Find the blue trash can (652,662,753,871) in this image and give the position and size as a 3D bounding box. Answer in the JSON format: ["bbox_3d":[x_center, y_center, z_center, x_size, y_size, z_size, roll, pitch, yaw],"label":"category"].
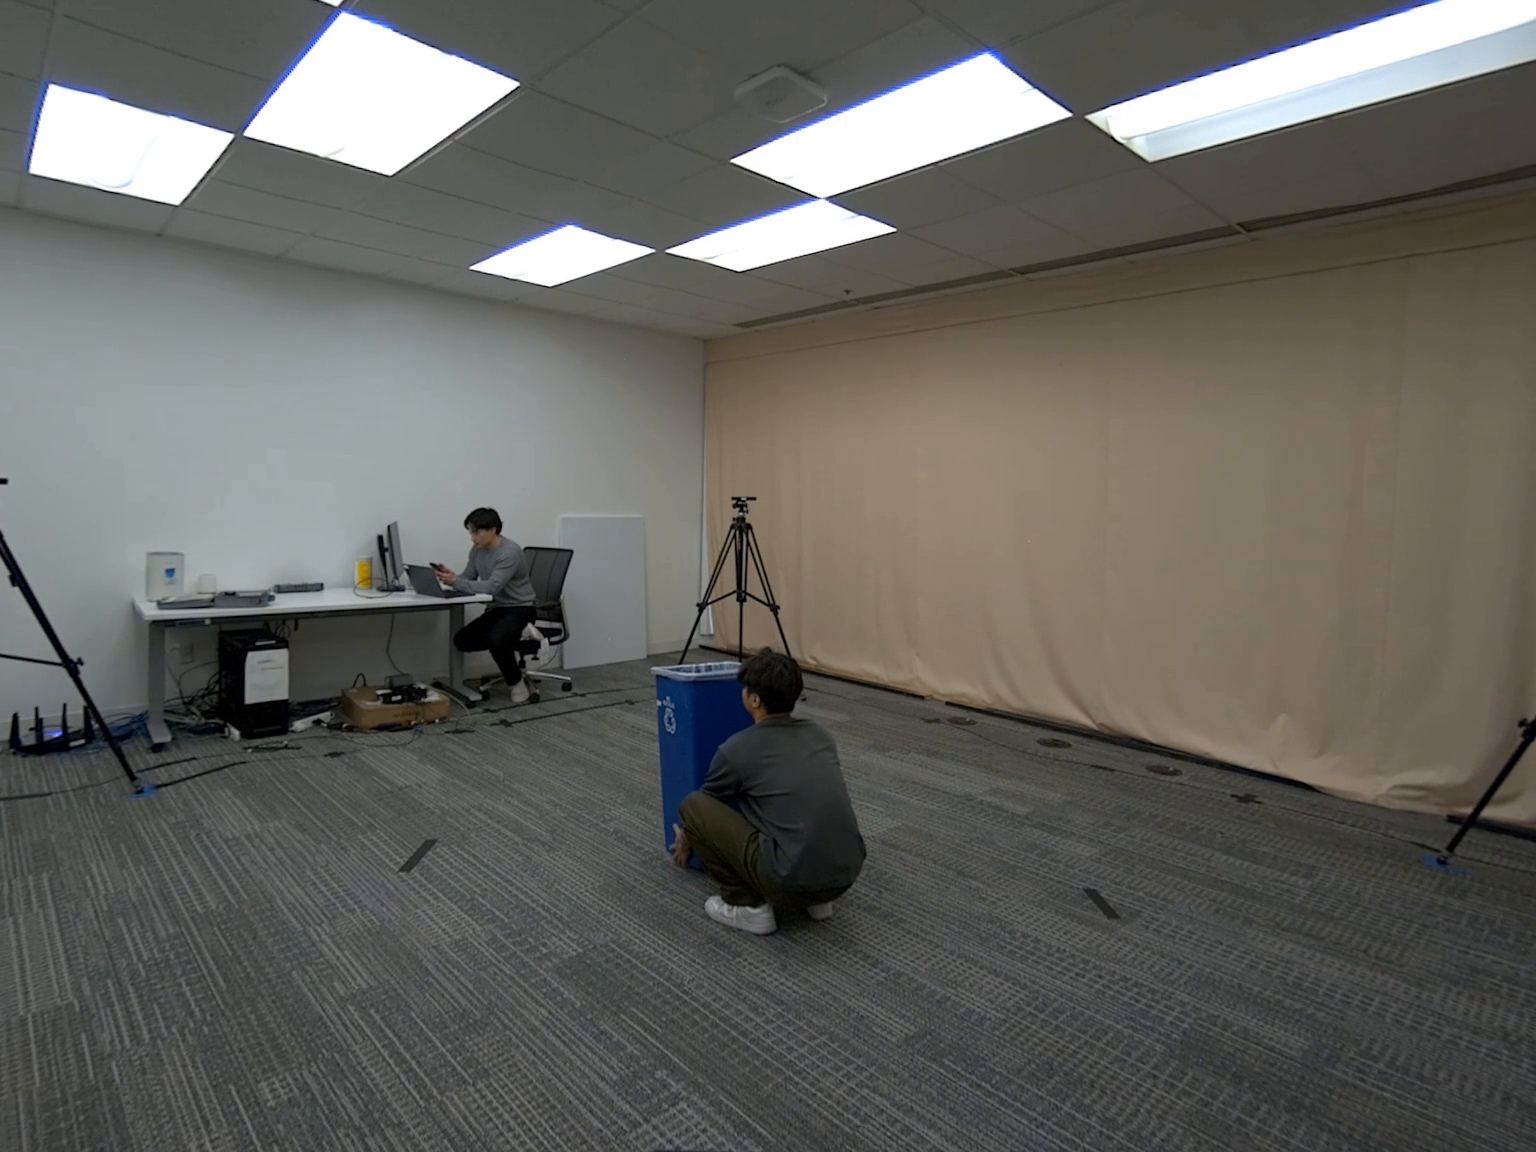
[{"bbox_3d":[-0.229,0.714,3.279,0.366,0.715,0.385,1,-3,-30],"label":"blue trash can"}]
